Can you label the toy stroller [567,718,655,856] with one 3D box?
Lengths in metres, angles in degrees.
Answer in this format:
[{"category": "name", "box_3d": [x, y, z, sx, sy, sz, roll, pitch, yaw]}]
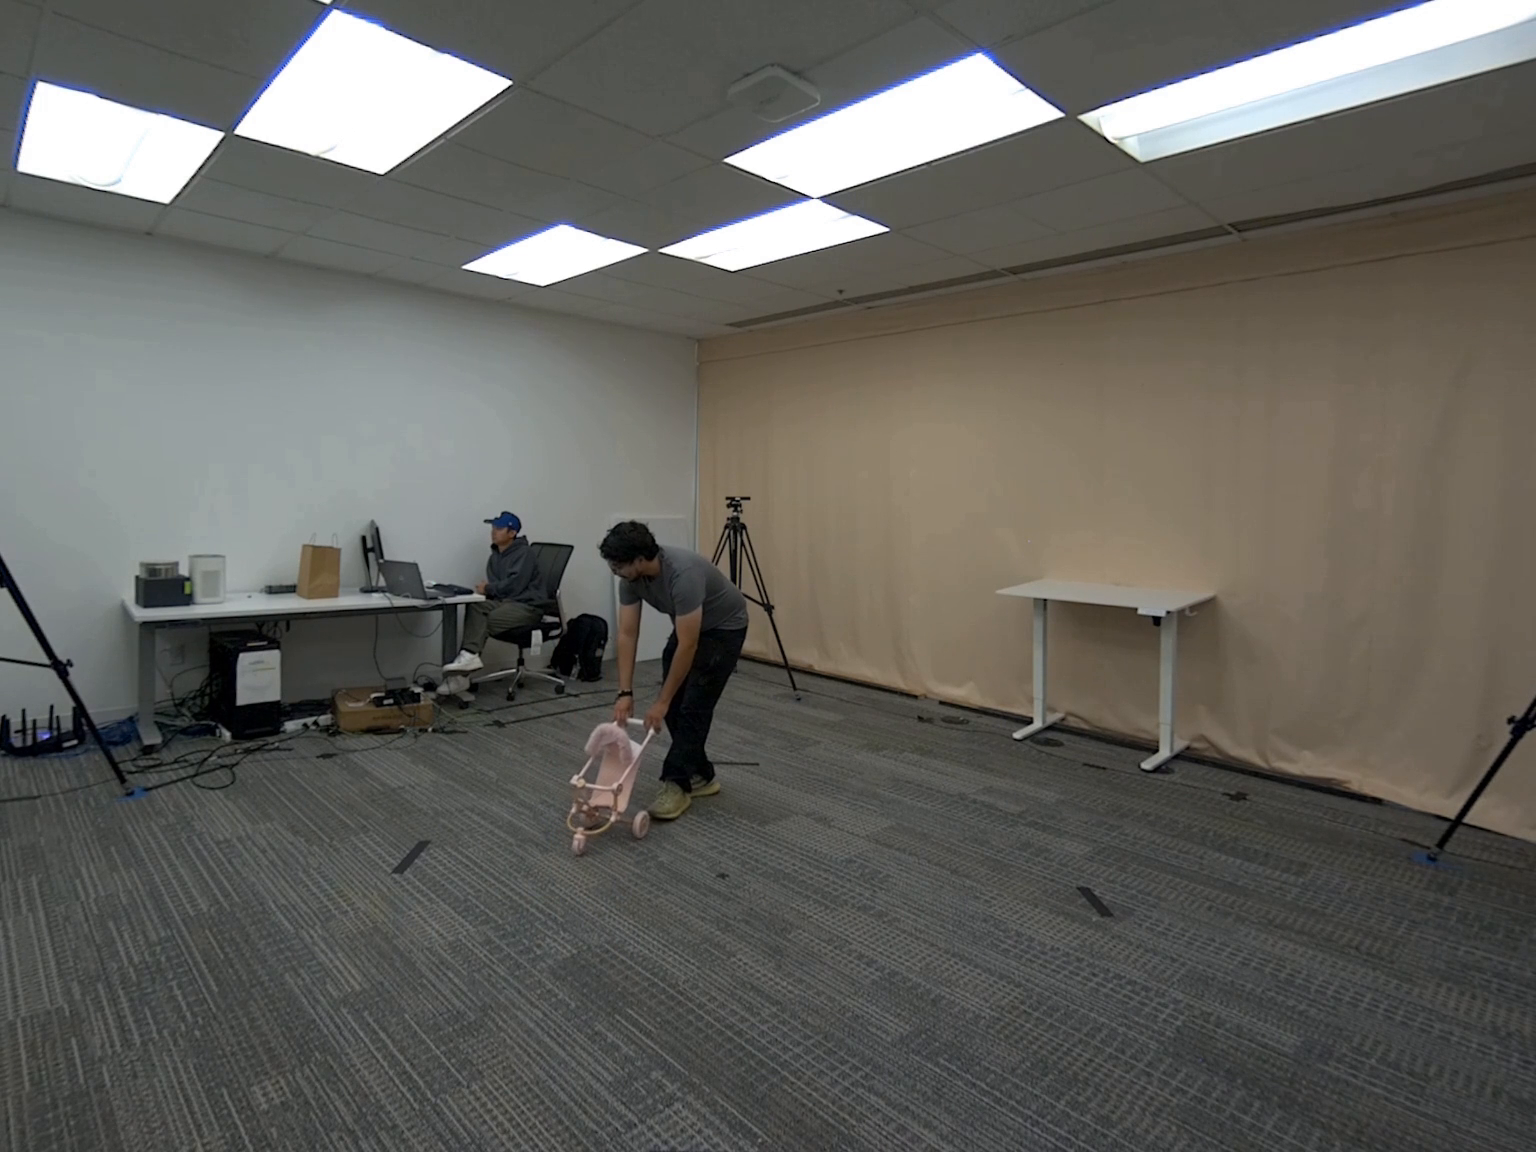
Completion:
[{"category": "toy stroller", "box_3d": [-0.666, 0.843, 3.418, 0.287, 0.538, 0.332, 2, -11, 27]}]
